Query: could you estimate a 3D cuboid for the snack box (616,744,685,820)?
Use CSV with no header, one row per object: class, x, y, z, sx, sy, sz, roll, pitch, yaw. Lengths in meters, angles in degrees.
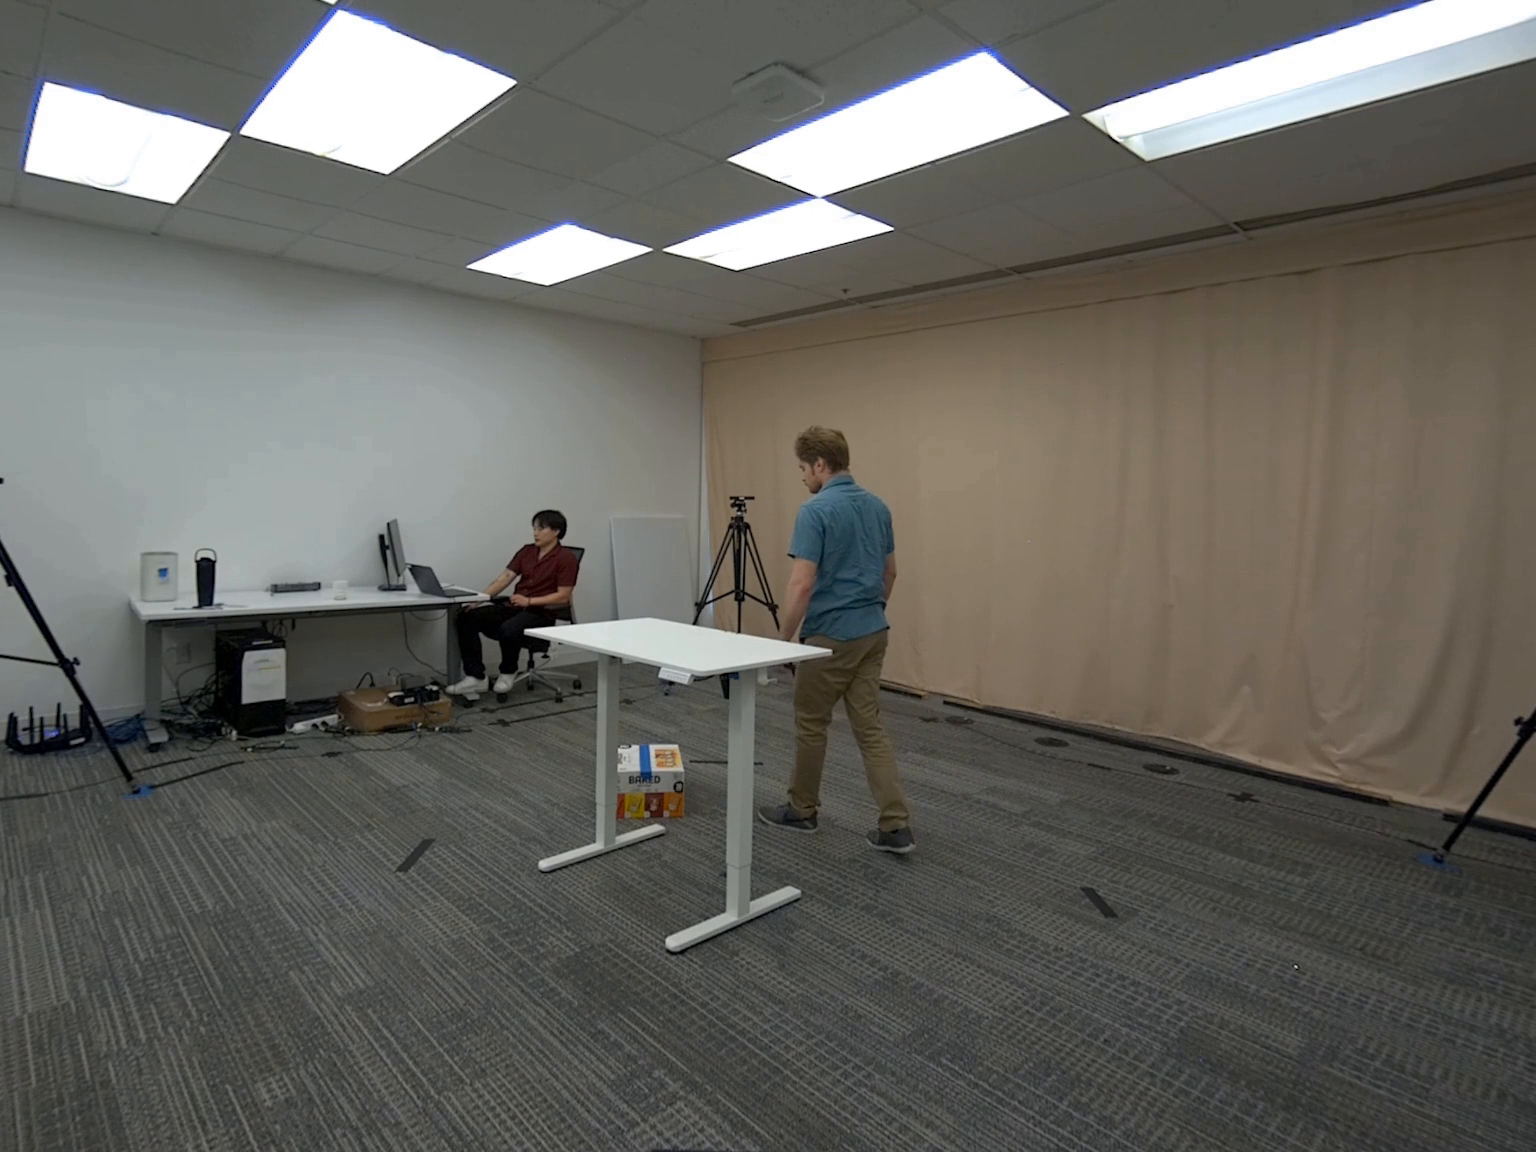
snack box,-0.578,0.929,3.838,0.338,0.205,0.409,1,5,-9
